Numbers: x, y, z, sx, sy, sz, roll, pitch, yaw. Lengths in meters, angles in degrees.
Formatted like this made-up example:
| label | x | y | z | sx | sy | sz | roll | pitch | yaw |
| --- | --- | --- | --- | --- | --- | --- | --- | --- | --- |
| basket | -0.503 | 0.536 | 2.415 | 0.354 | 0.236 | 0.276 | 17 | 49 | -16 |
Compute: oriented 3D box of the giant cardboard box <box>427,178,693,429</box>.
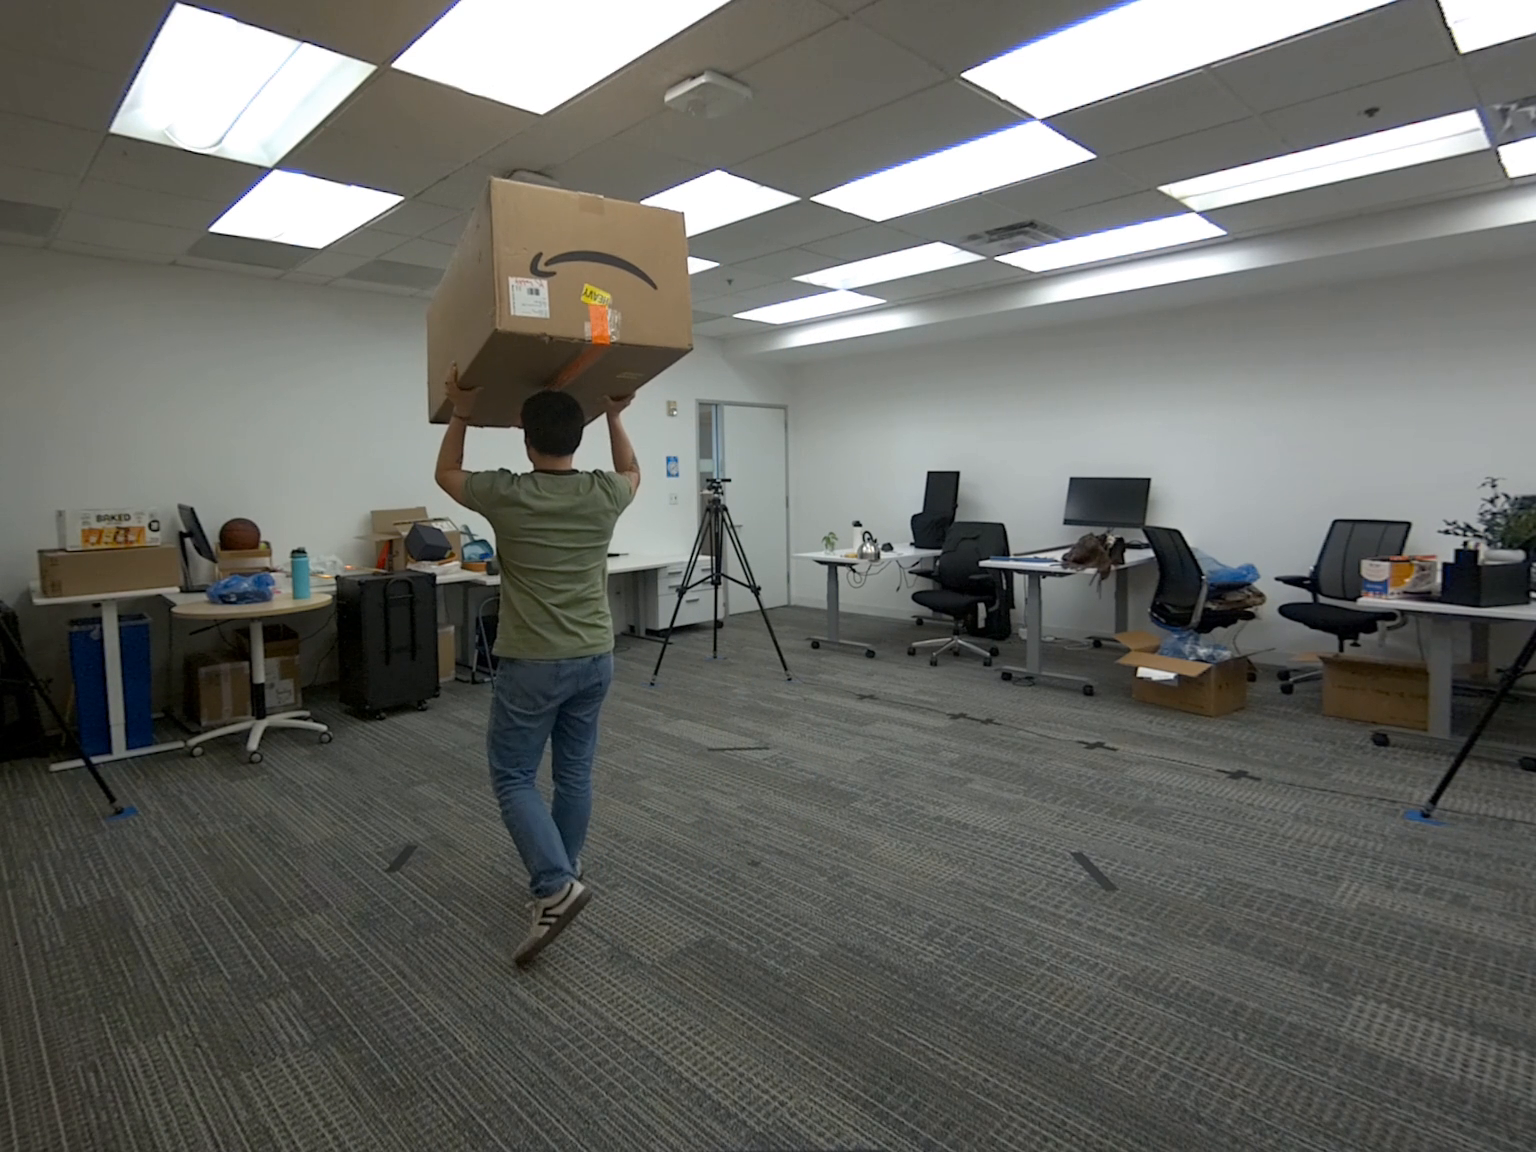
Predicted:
| label | x | y | z | sx | sy | sz | roll | pitch | yaw |
| --- | --- | --- | --- | --- | --- | --- | --- | --- | --- |
| giant cardboard box | -0.728 | -0.802 | 2.799 | 0.564 | 0.428 | 1.045 | -2 | -4 | -29 |
